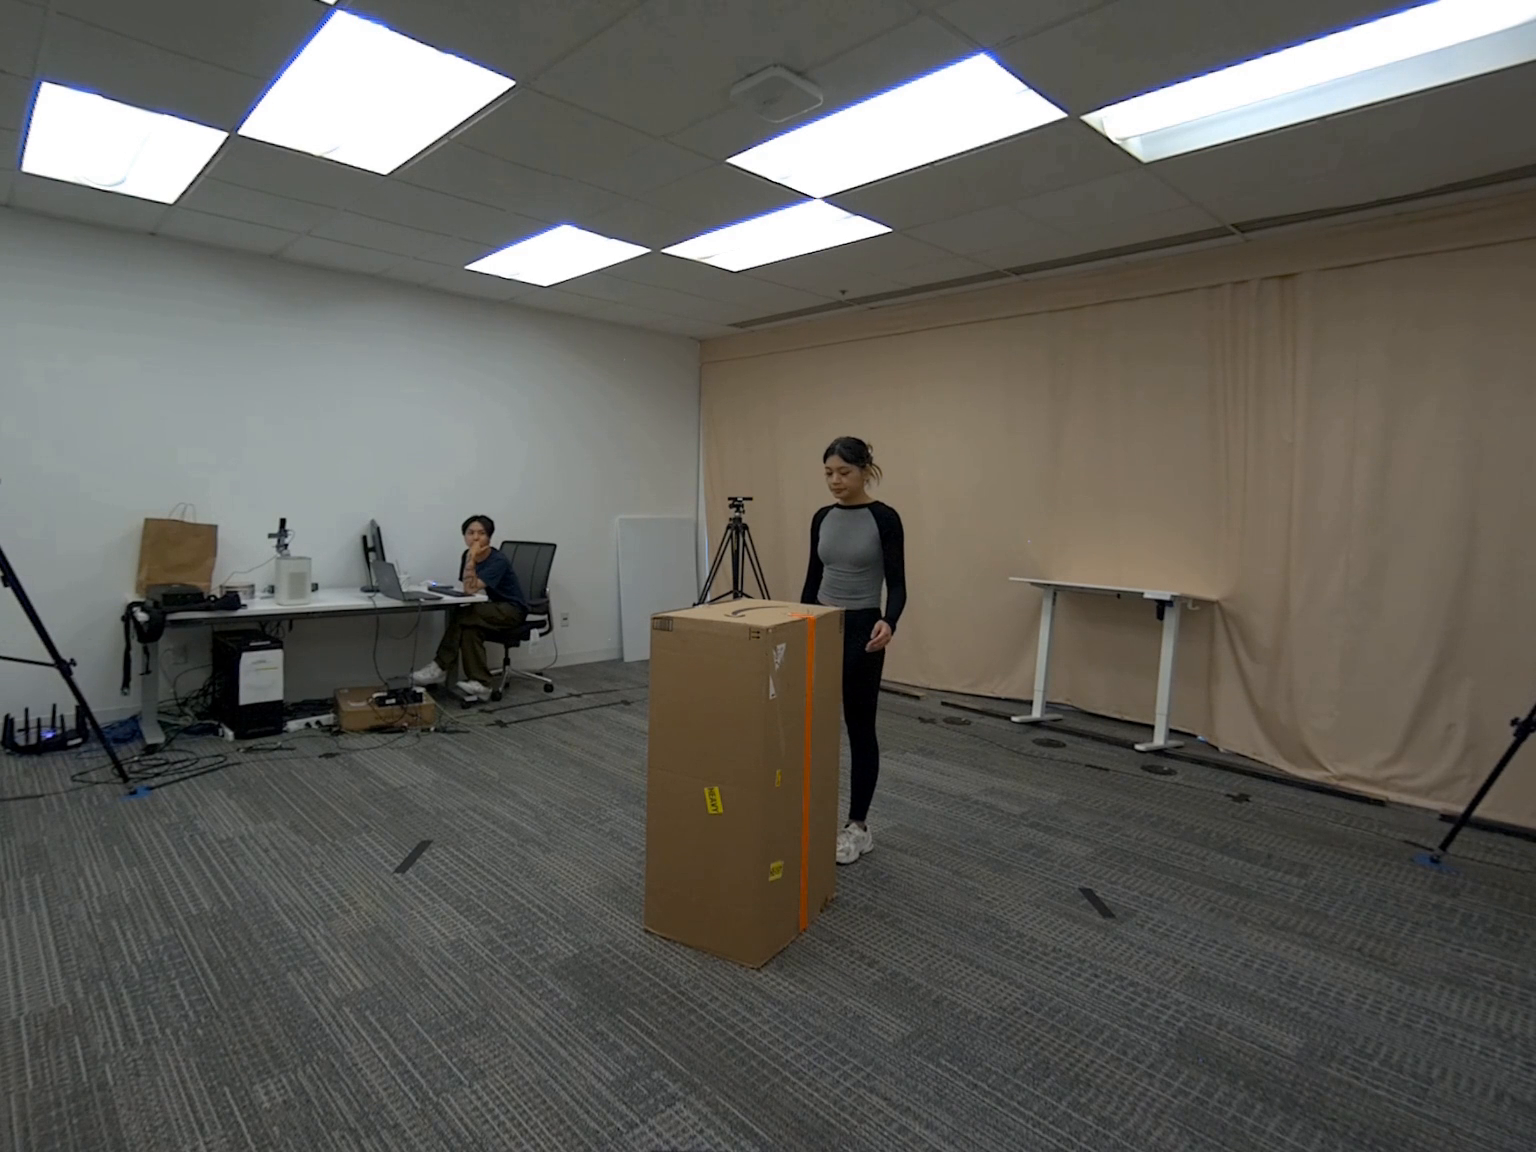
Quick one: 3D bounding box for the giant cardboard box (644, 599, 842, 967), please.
[{"bbox_3d":[-0.068,0.631,2.804,0.456,1.025,0.572,2,3,29],"label":"giant cardboard box"}]
